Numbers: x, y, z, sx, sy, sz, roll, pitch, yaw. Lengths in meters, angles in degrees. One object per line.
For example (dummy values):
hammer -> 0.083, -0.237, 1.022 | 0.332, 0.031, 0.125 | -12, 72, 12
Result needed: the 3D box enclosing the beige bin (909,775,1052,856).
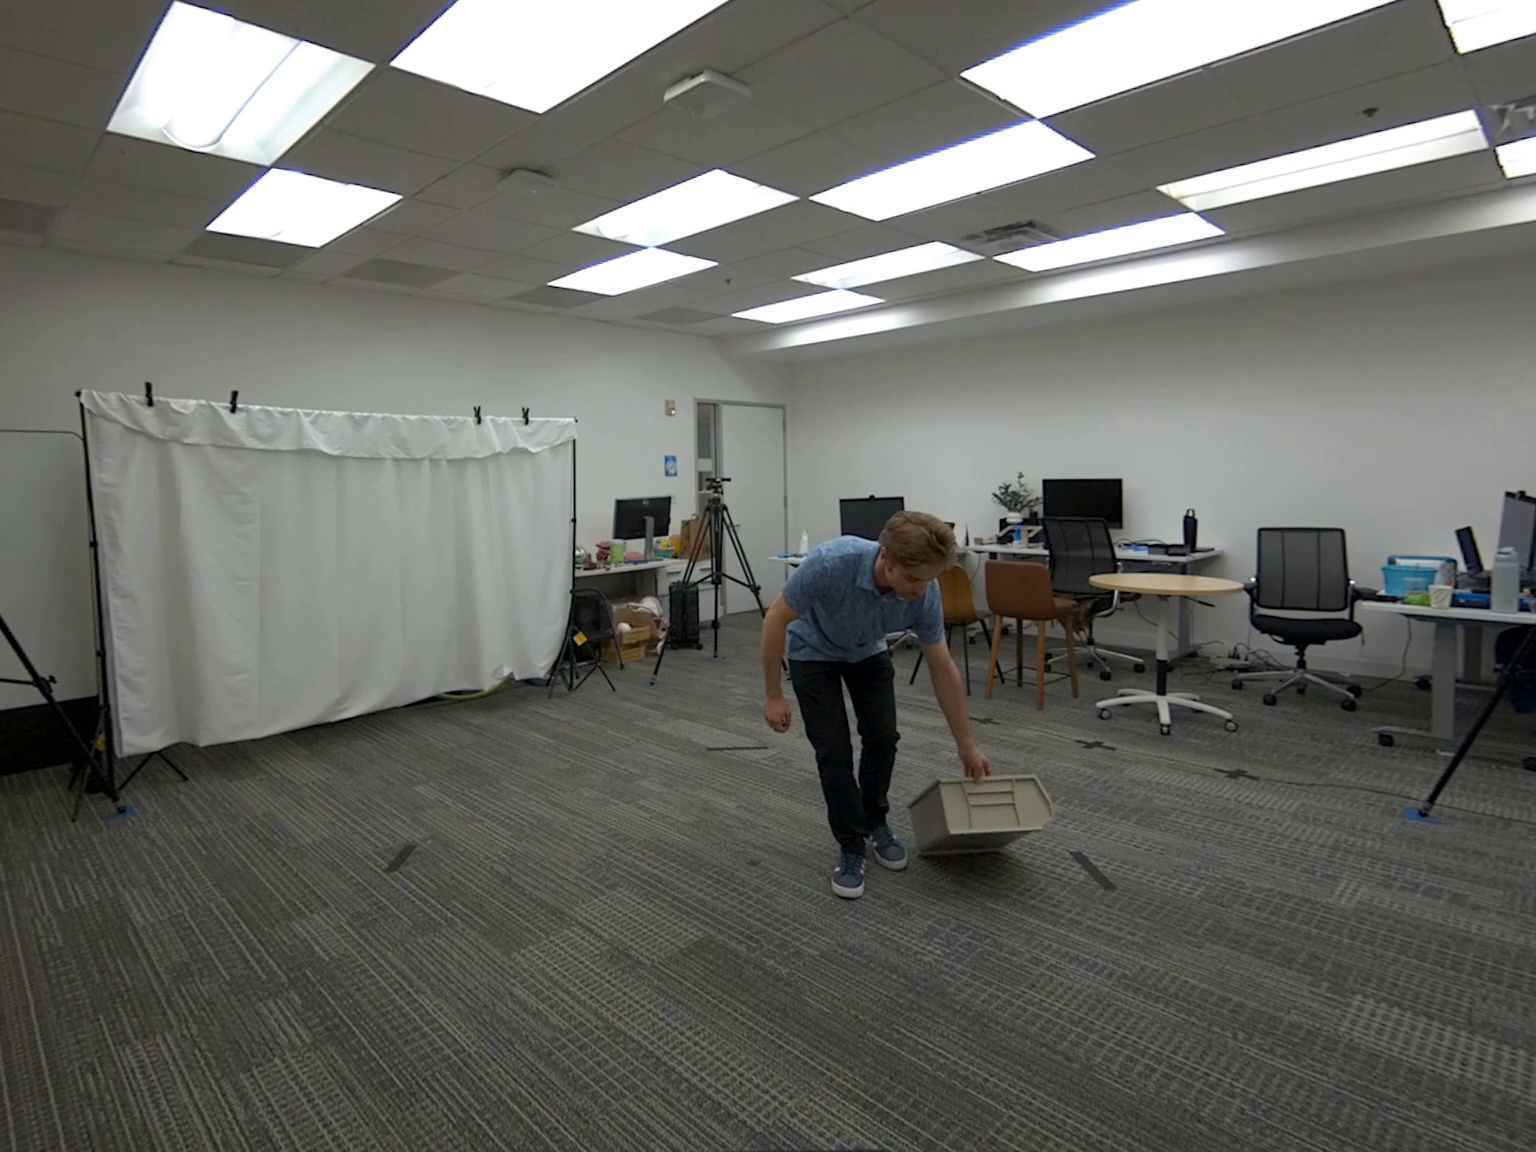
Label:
beige bin -> 0.737, 0.847, 3.016 | 0.375, 0.193, 0.415 | -1, -26, -7
